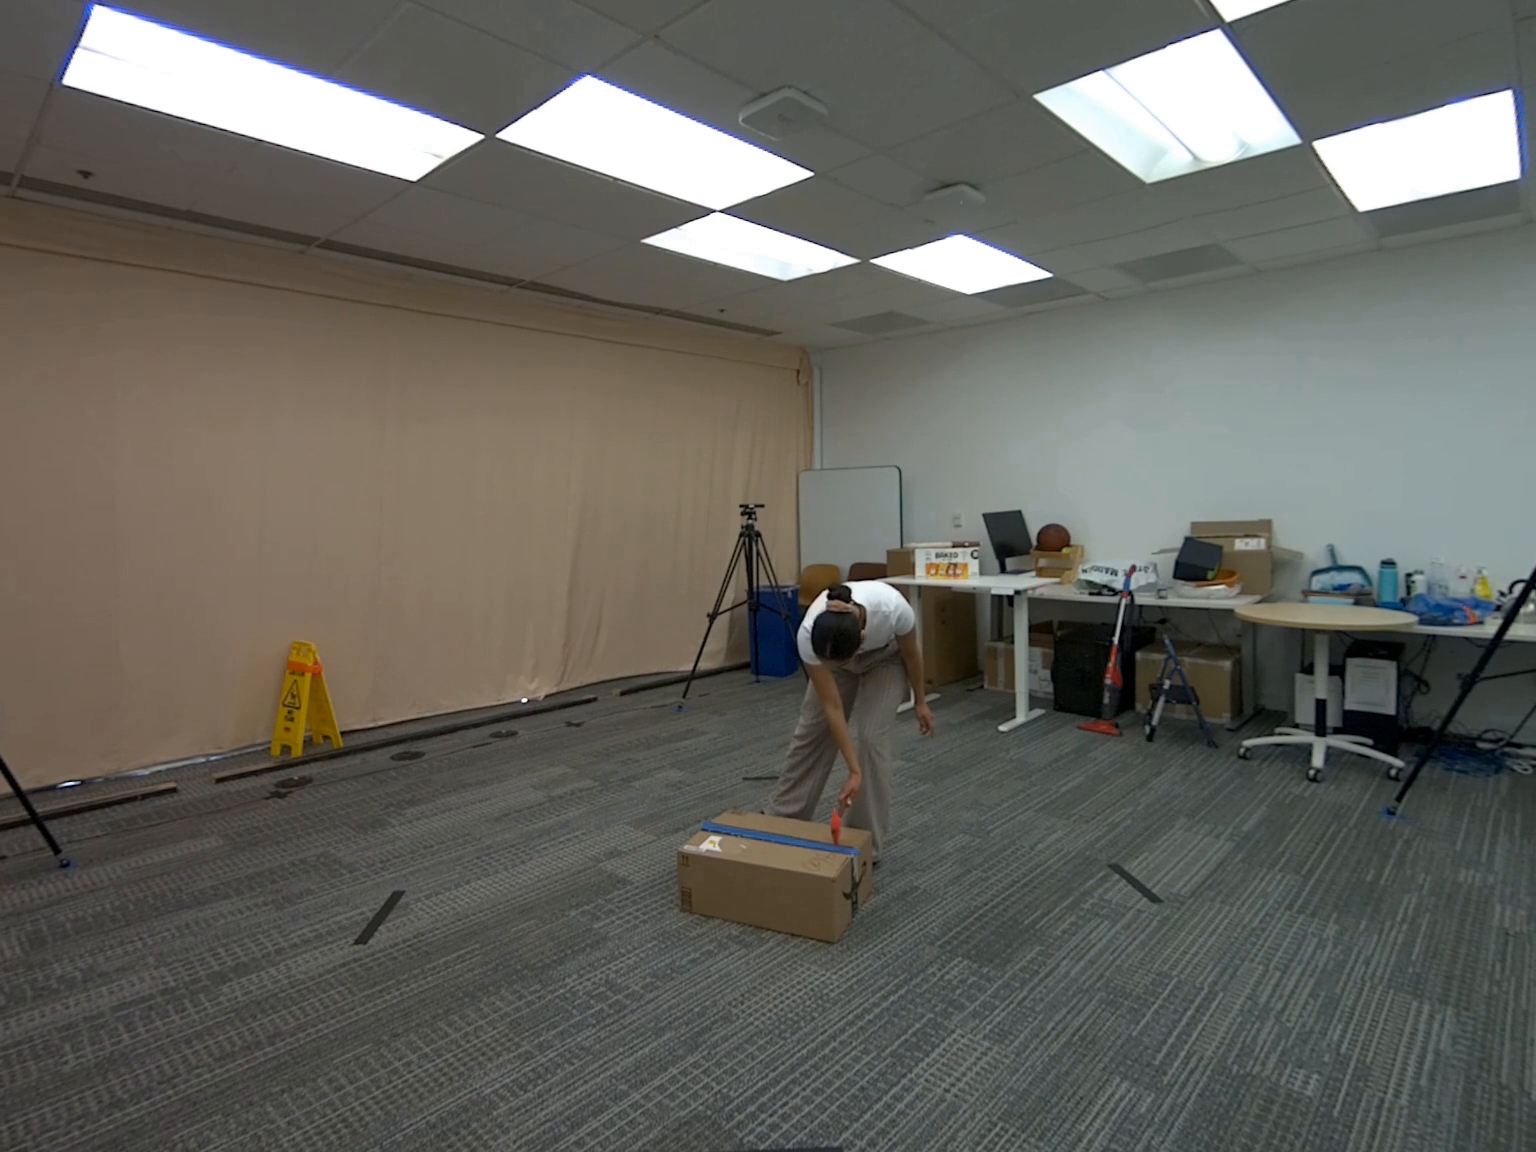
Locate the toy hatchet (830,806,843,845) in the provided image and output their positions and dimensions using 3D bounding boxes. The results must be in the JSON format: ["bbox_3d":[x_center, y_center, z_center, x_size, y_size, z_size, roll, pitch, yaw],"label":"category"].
[{"bbox_3d":[0.256,0.858,2.983,0.030,0.131,0.264,2,-2,17],"label":"toy hatchet"}]
